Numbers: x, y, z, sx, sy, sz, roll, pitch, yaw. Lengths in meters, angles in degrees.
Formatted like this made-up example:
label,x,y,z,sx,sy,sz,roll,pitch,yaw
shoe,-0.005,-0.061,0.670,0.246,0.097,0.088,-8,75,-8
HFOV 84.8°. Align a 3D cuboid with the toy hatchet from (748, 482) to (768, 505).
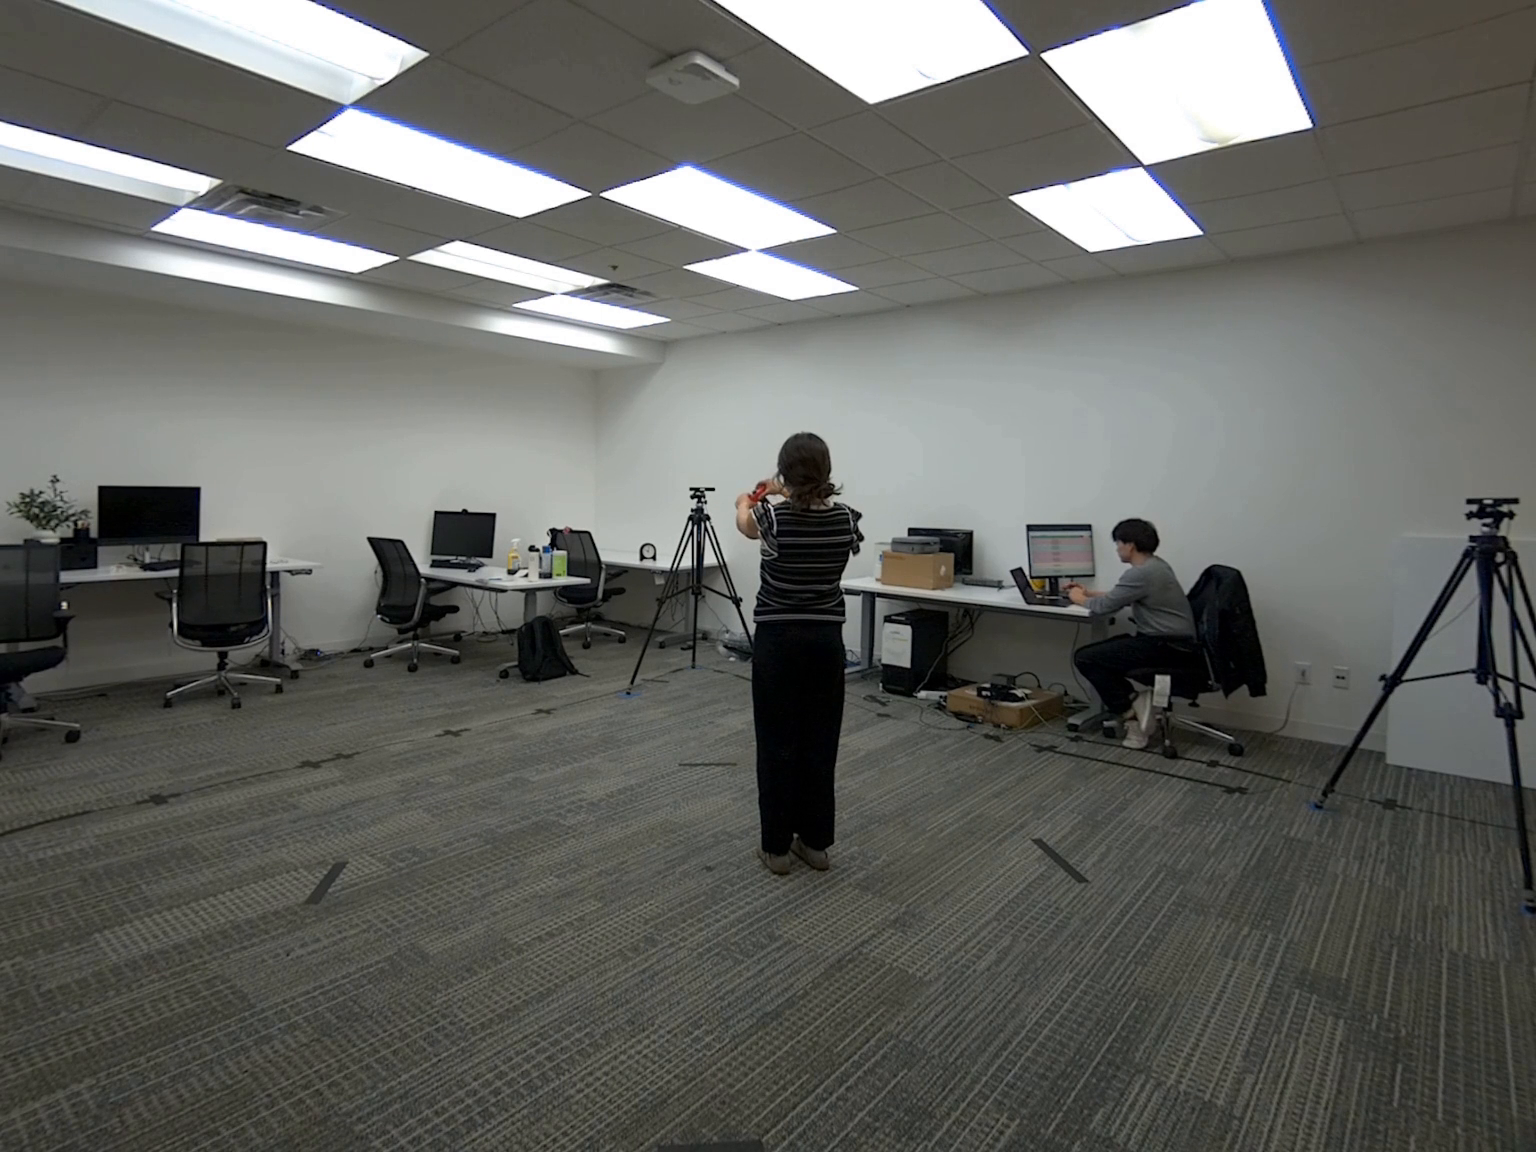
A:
label,x,y,z,sx,sy,sz,roll,pitch,yaw
toy hatchet,-0.021,-0.276,3.681,0.131,0.261,0.030,-20,33,-2
